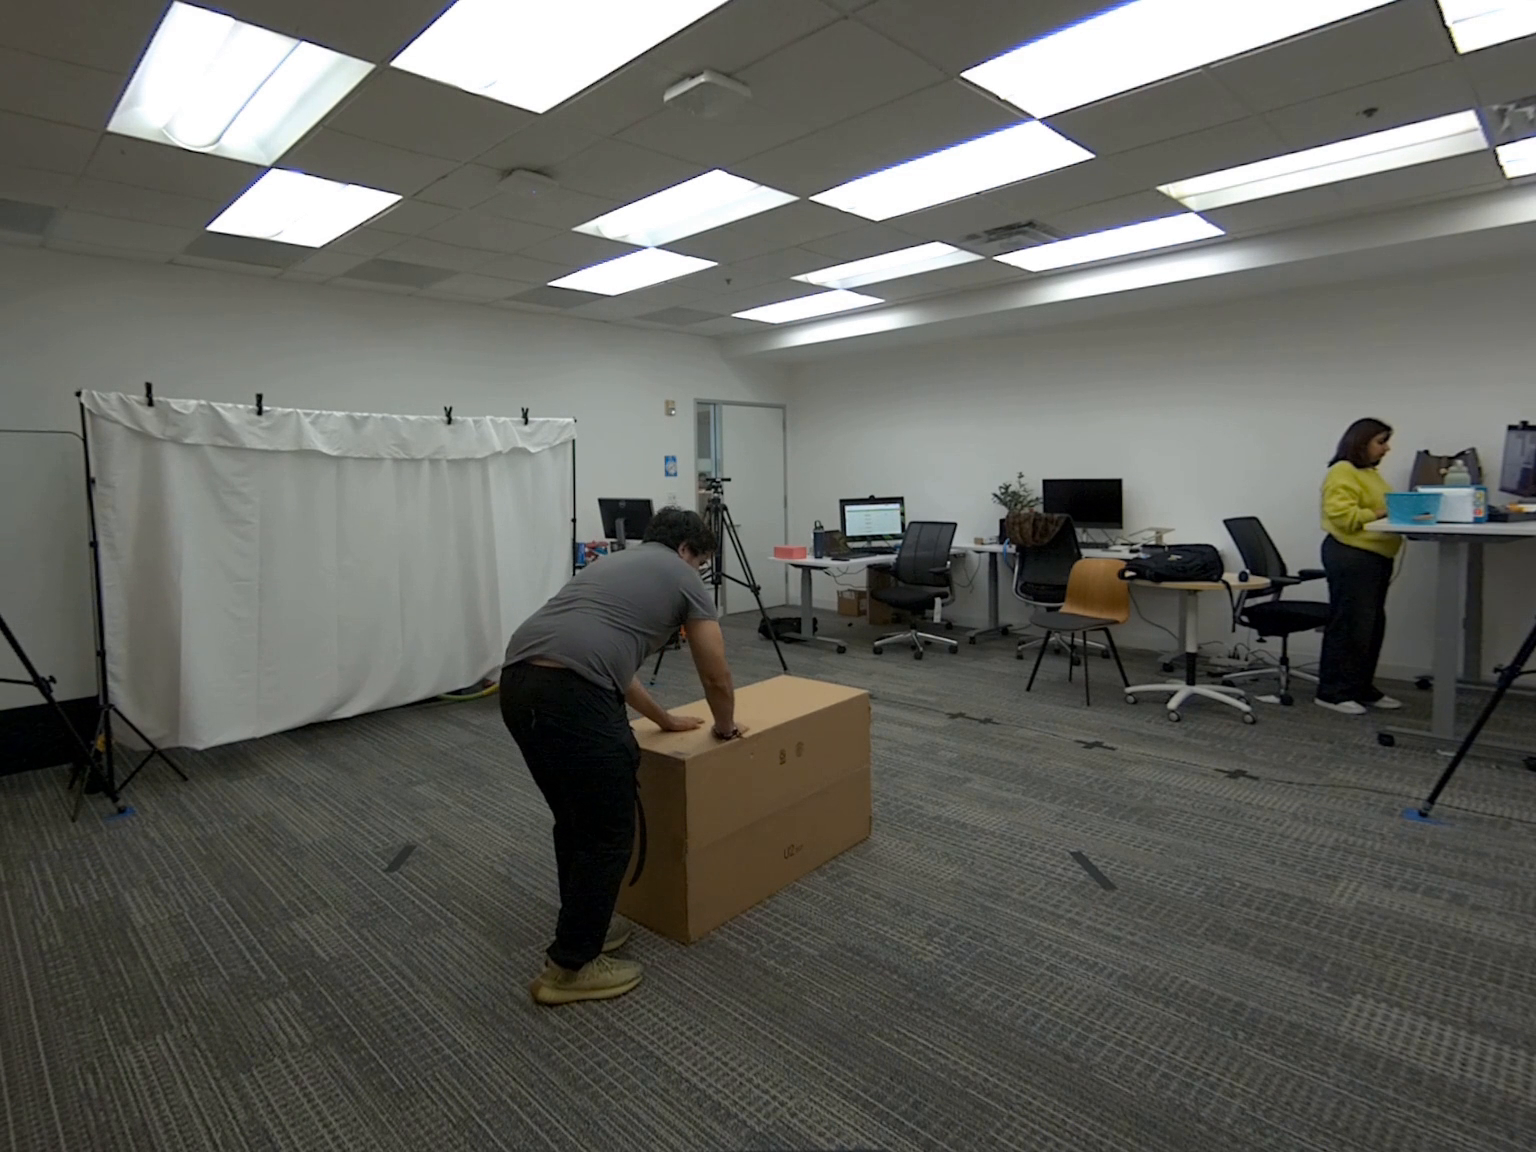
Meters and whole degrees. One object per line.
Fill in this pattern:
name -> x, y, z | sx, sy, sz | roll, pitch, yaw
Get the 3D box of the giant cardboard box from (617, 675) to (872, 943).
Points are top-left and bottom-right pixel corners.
giant cardboard box -> -0.090, 0.760, 3.063 | 0.439, 0.575, 1.000 | 3, 7, 40
